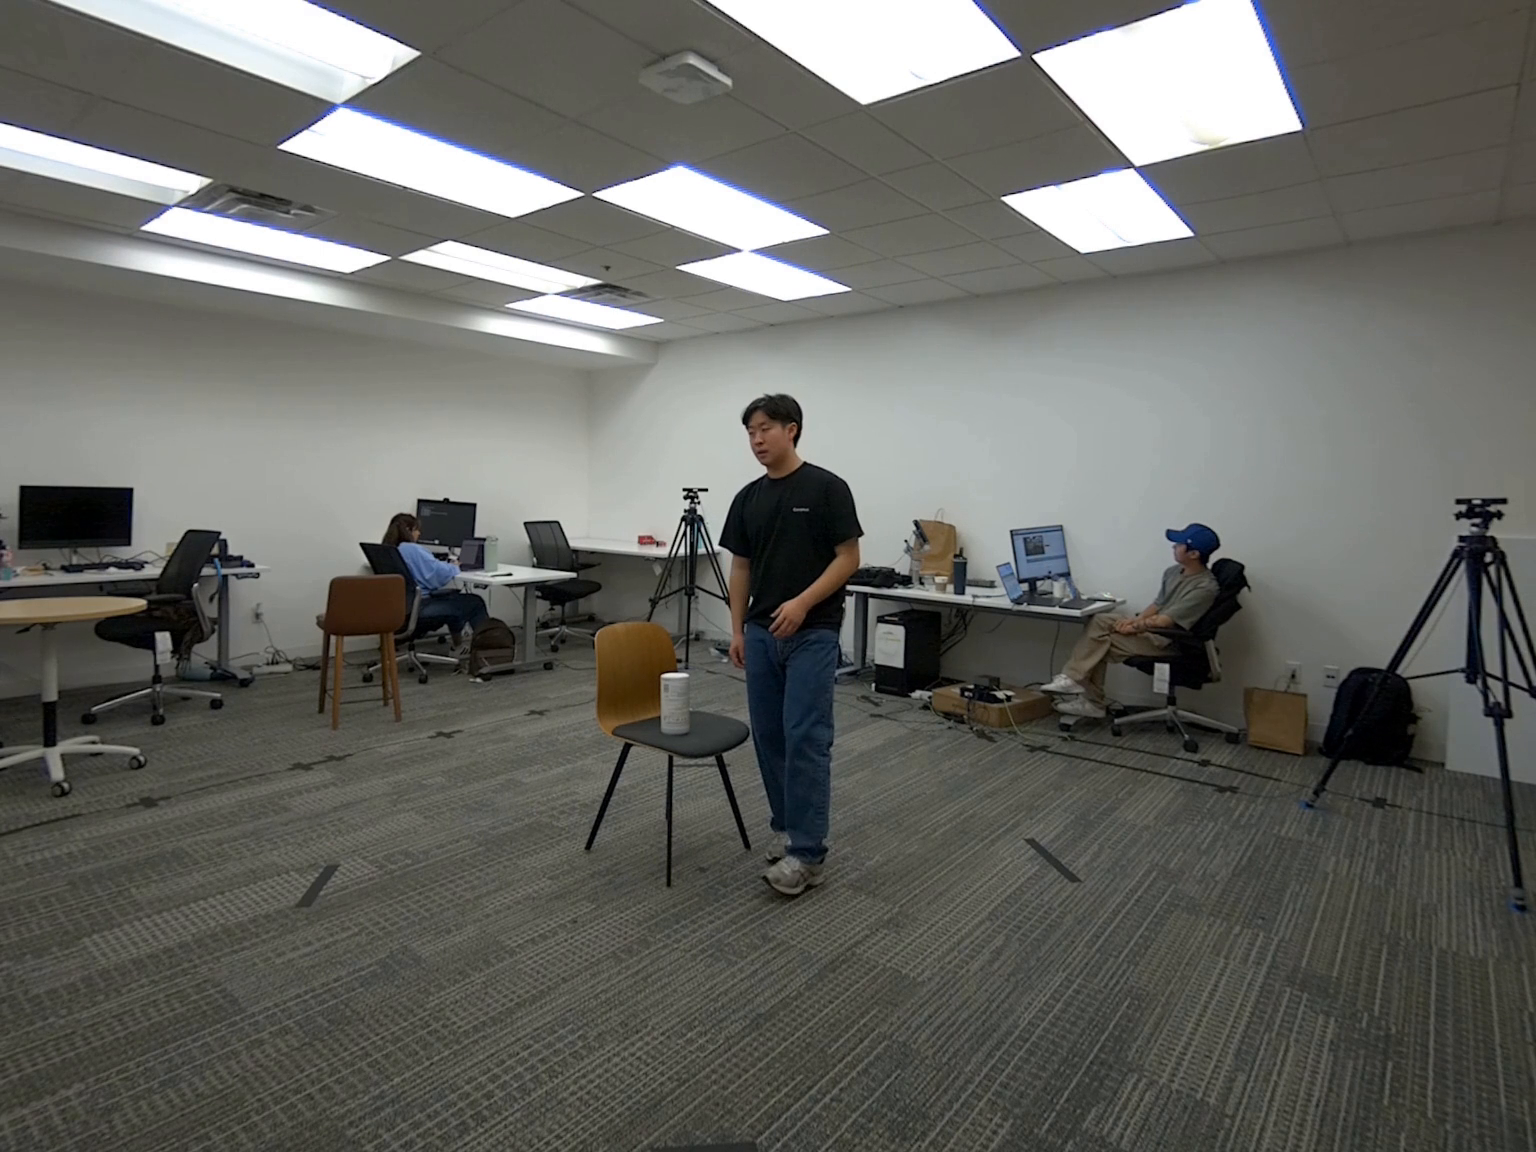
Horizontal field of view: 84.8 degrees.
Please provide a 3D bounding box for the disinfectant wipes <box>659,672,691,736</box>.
[{"bbox_3d":[-0.356,0.474,3.198,0.118,0.217,0.118,-1,0,-2],"label":"disinfectant wipes"}]
